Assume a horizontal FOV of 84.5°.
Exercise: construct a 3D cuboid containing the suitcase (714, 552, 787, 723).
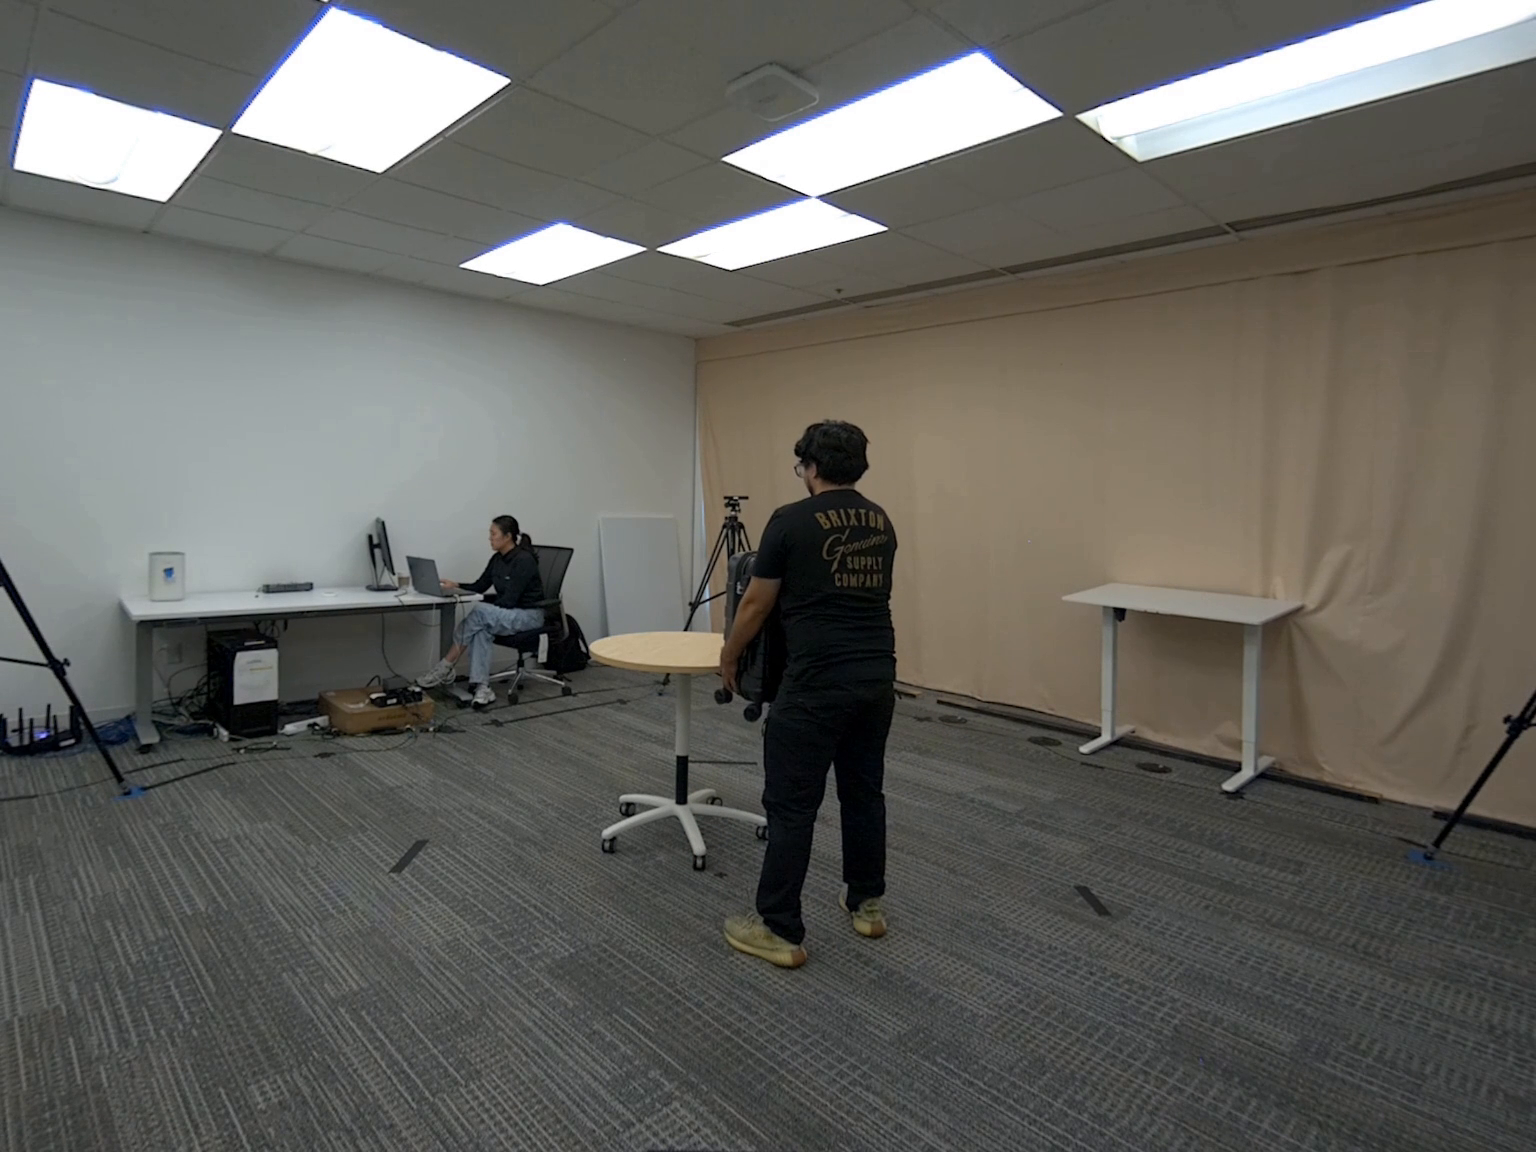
[{"bbox_3d":[0.045,0.184,2.896,0.367,0.547,0.254,0,5,-32],"label":"suitcase"}]
